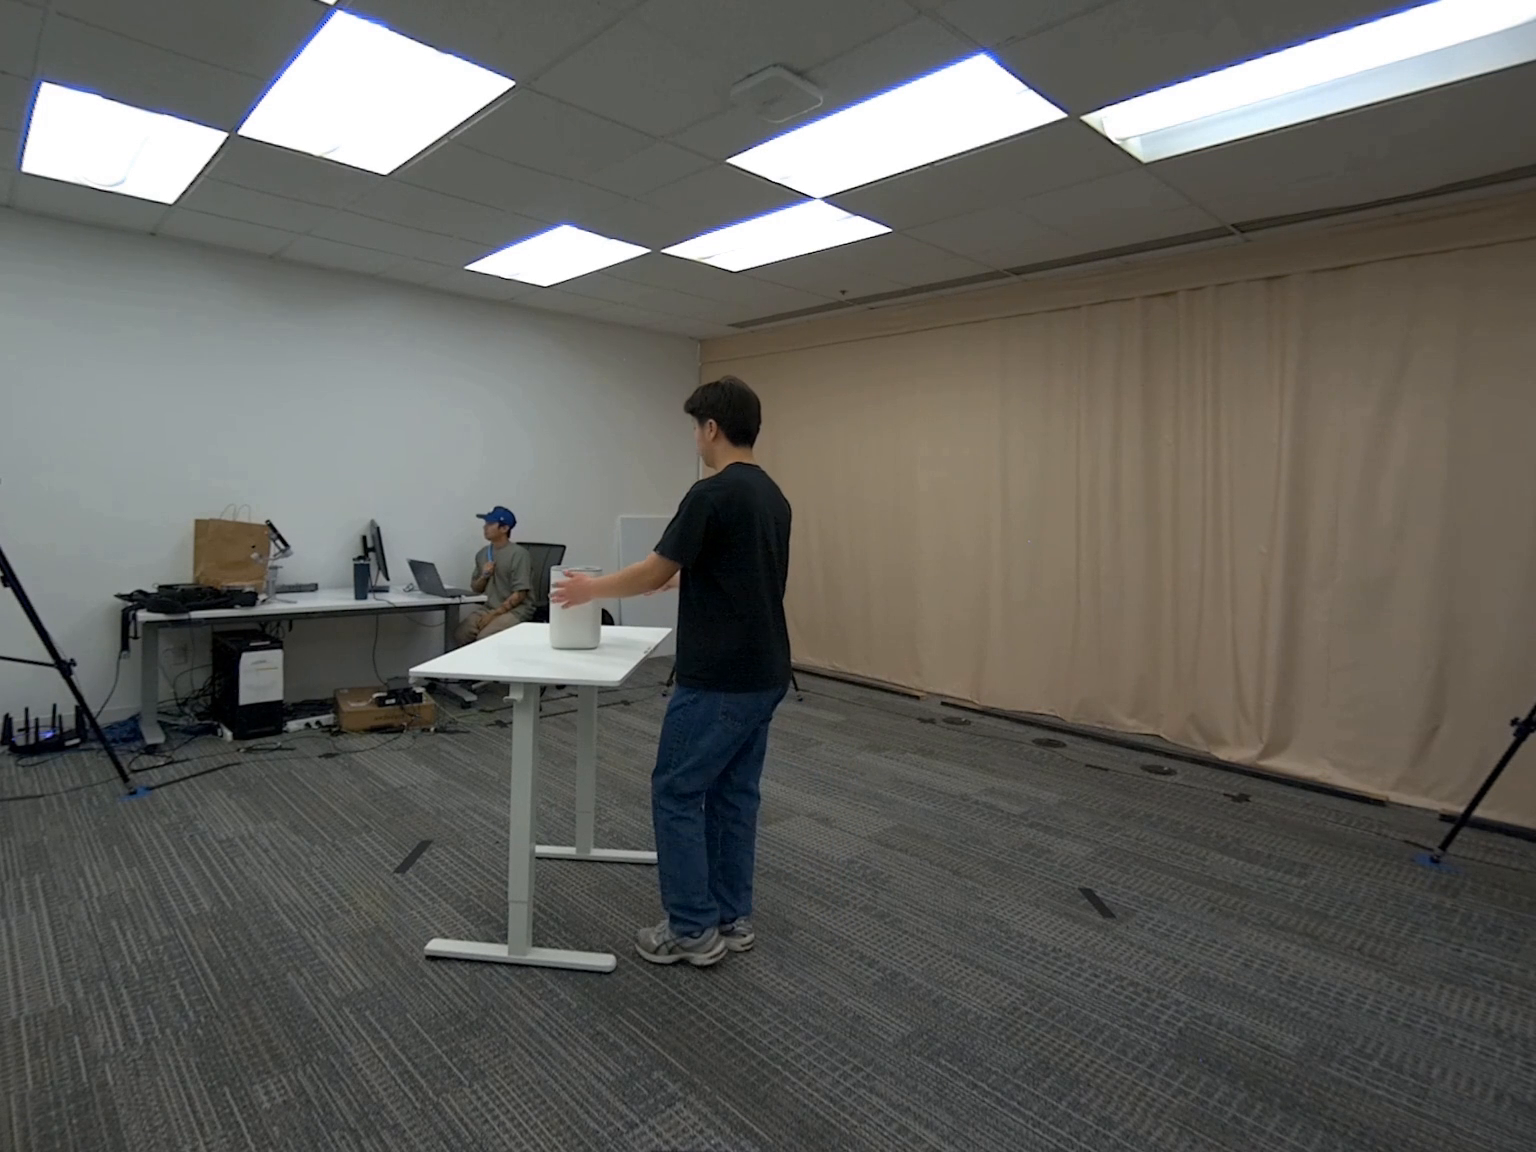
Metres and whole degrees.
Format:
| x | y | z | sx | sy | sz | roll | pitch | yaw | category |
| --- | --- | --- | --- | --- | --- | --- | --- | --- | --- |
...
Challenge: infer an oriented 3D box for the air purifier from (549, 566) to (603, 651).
| x | y | z | sx | sy | sz | roll | pitch | yaw | category |
| --- | --- | --- | --- | --- | --- | --- | --- | --- | --- |
| -0.661 | 0.111 | 2.840 | 0.170 | 0.265 | 0.172 | 0 | 0 | -7 | air purifier |
